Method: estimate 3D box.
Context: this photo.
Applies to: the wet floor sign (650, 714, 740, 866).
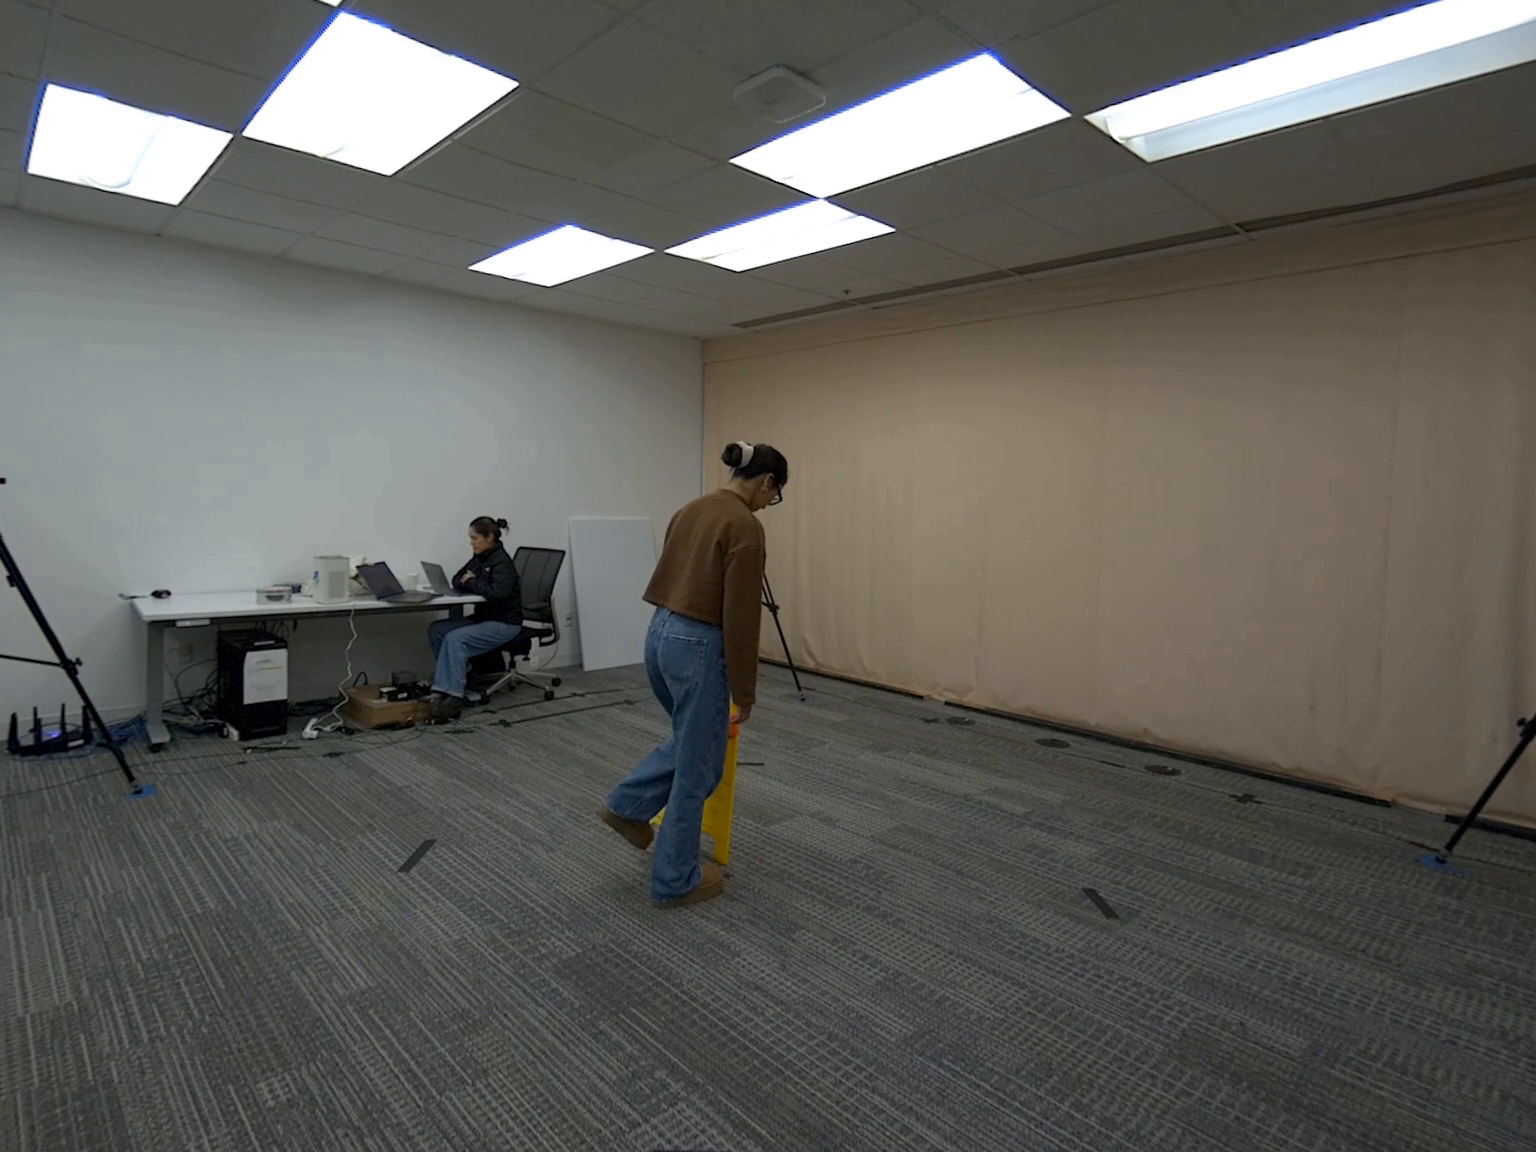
[{"bbox_3d":[-0.259,0.747,3.277,0.282,0.648,0.289,20,-8,-34],"label":"wet floor sign"}]
